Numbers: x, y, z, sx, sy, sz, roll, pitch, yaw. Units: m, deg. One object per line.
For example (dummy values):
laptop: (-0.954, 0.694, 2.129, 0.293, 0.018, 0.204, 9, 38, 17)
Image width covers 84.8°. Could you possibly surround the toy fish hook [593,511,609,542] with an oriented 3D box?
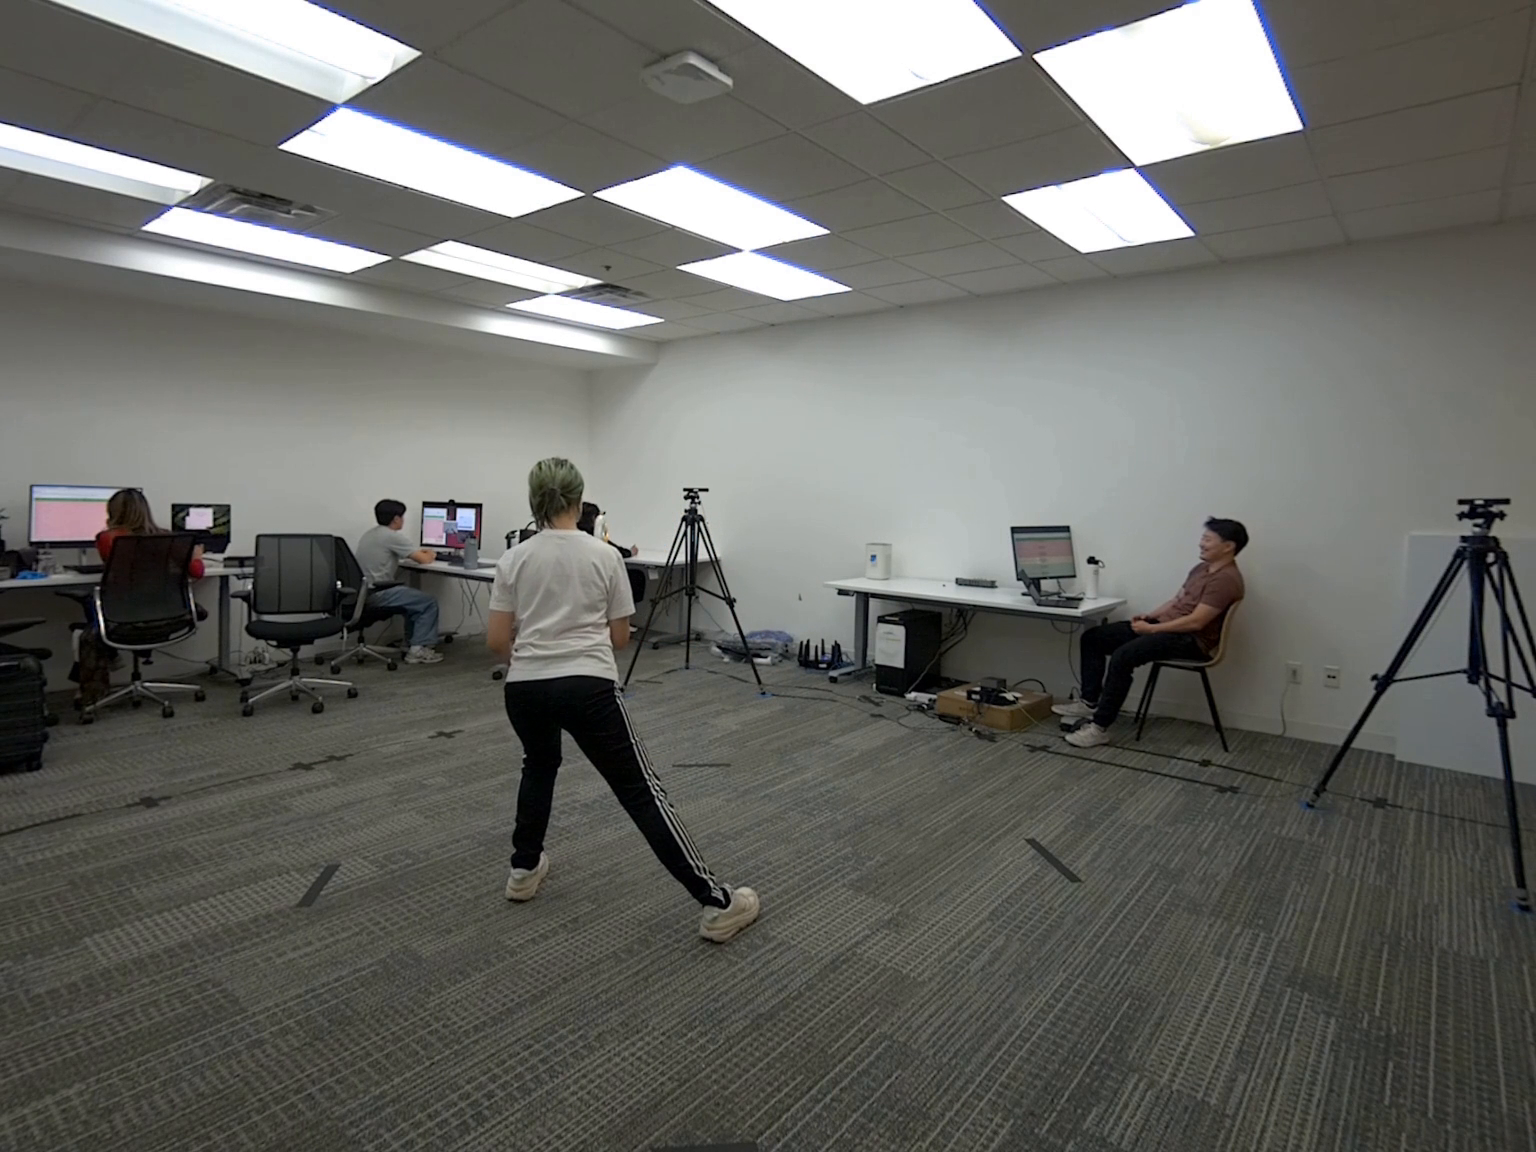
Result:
toy fish hook: (-0.647, 0.008, 3.287, 0.048, 0.515, 0.220, 0, -19, 3)
